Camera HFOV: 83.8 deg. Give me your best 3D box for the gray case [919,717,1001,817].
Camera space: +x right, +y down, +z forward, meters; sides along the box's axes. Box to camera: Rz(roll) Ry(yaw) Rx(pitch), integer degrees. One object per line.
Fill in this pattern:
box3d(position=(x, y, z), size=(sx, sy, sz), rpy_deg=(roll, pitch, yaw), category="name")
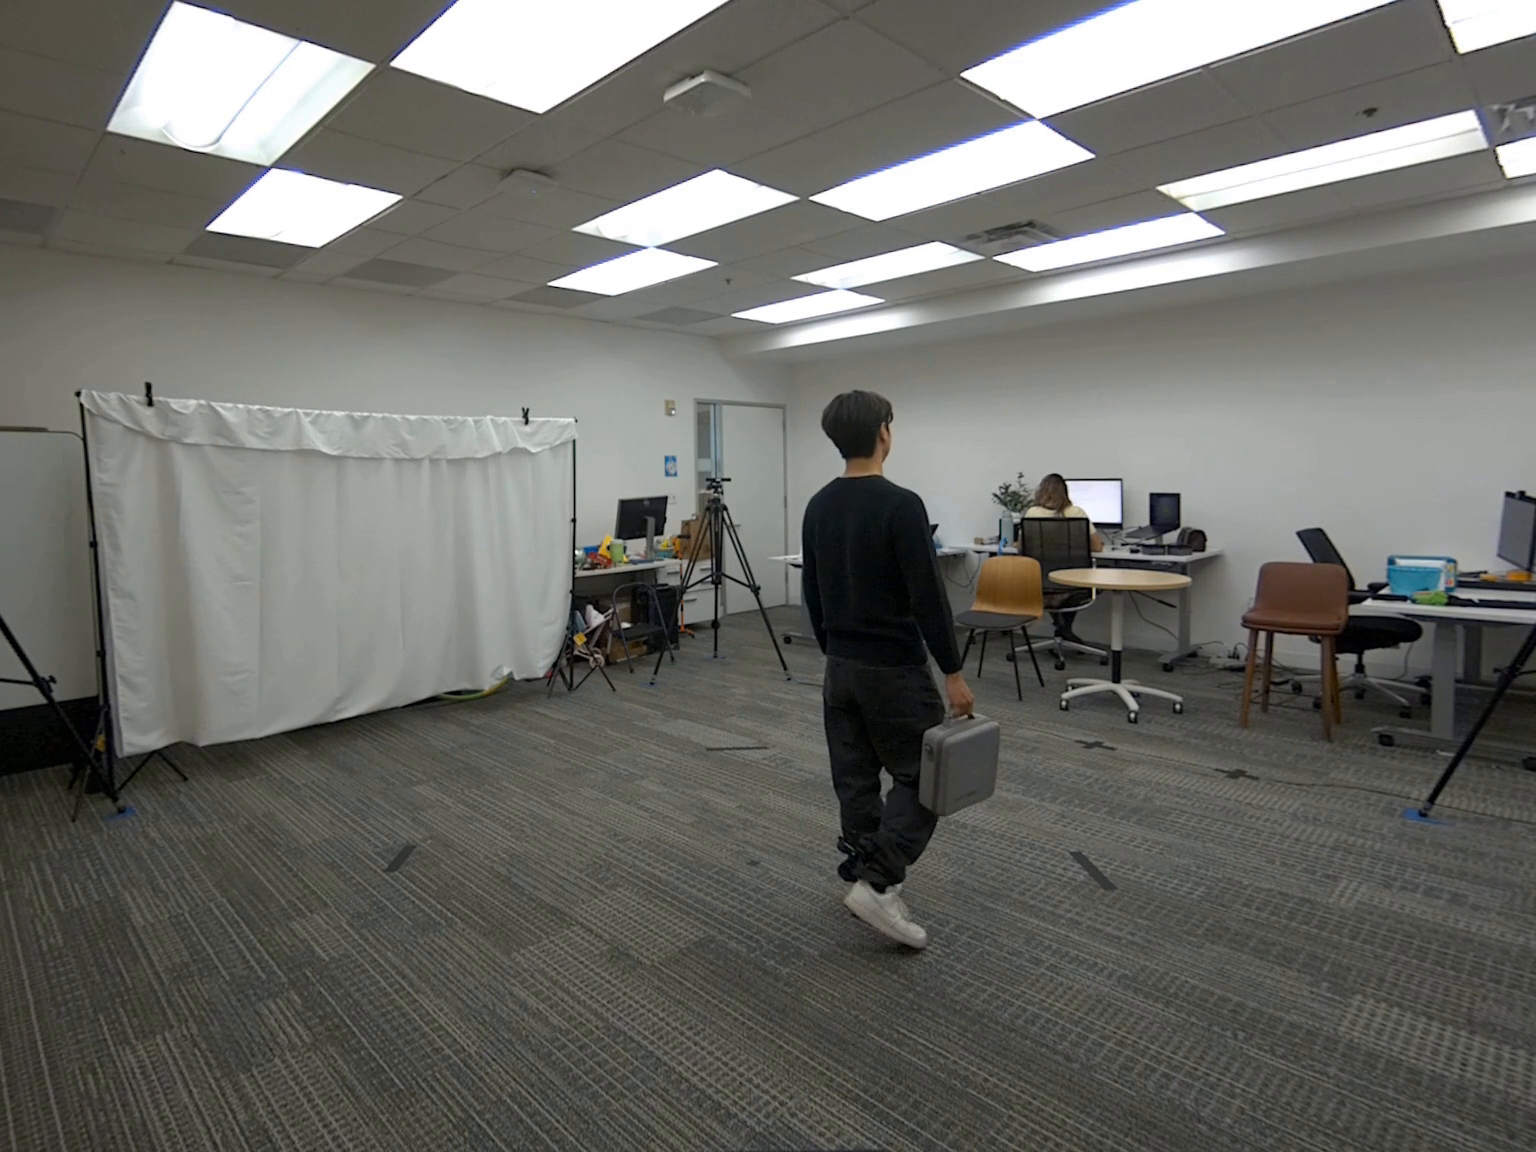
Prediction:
box3d(position=(0.565, 0.554, 2.548), size=(0.250, 0.258, 0.108), rpy_deg=(-6, 12, -36), category="gray case")
